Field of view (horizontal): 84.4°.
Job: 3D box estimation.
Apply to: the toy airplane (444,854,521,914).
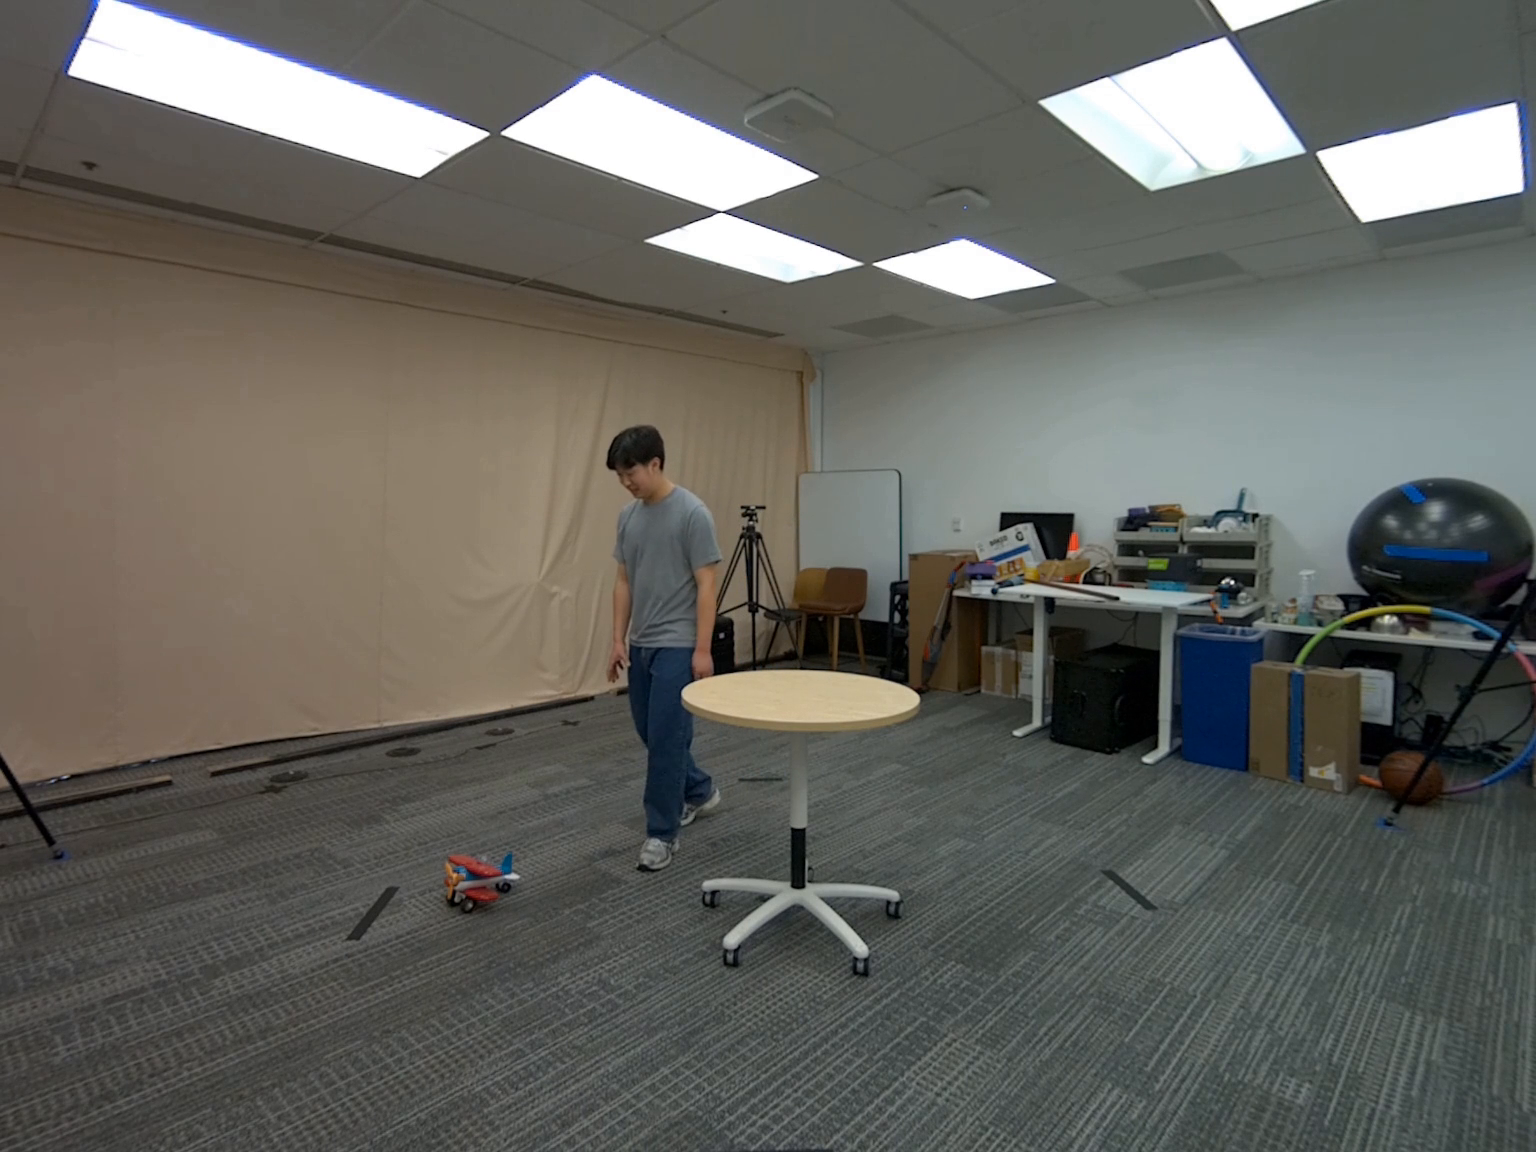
[{"bbox_3d":[-1.037,1.079,2.991,0.254,0.156,0.257,1,5,9],"label":"toy airplane"}]
